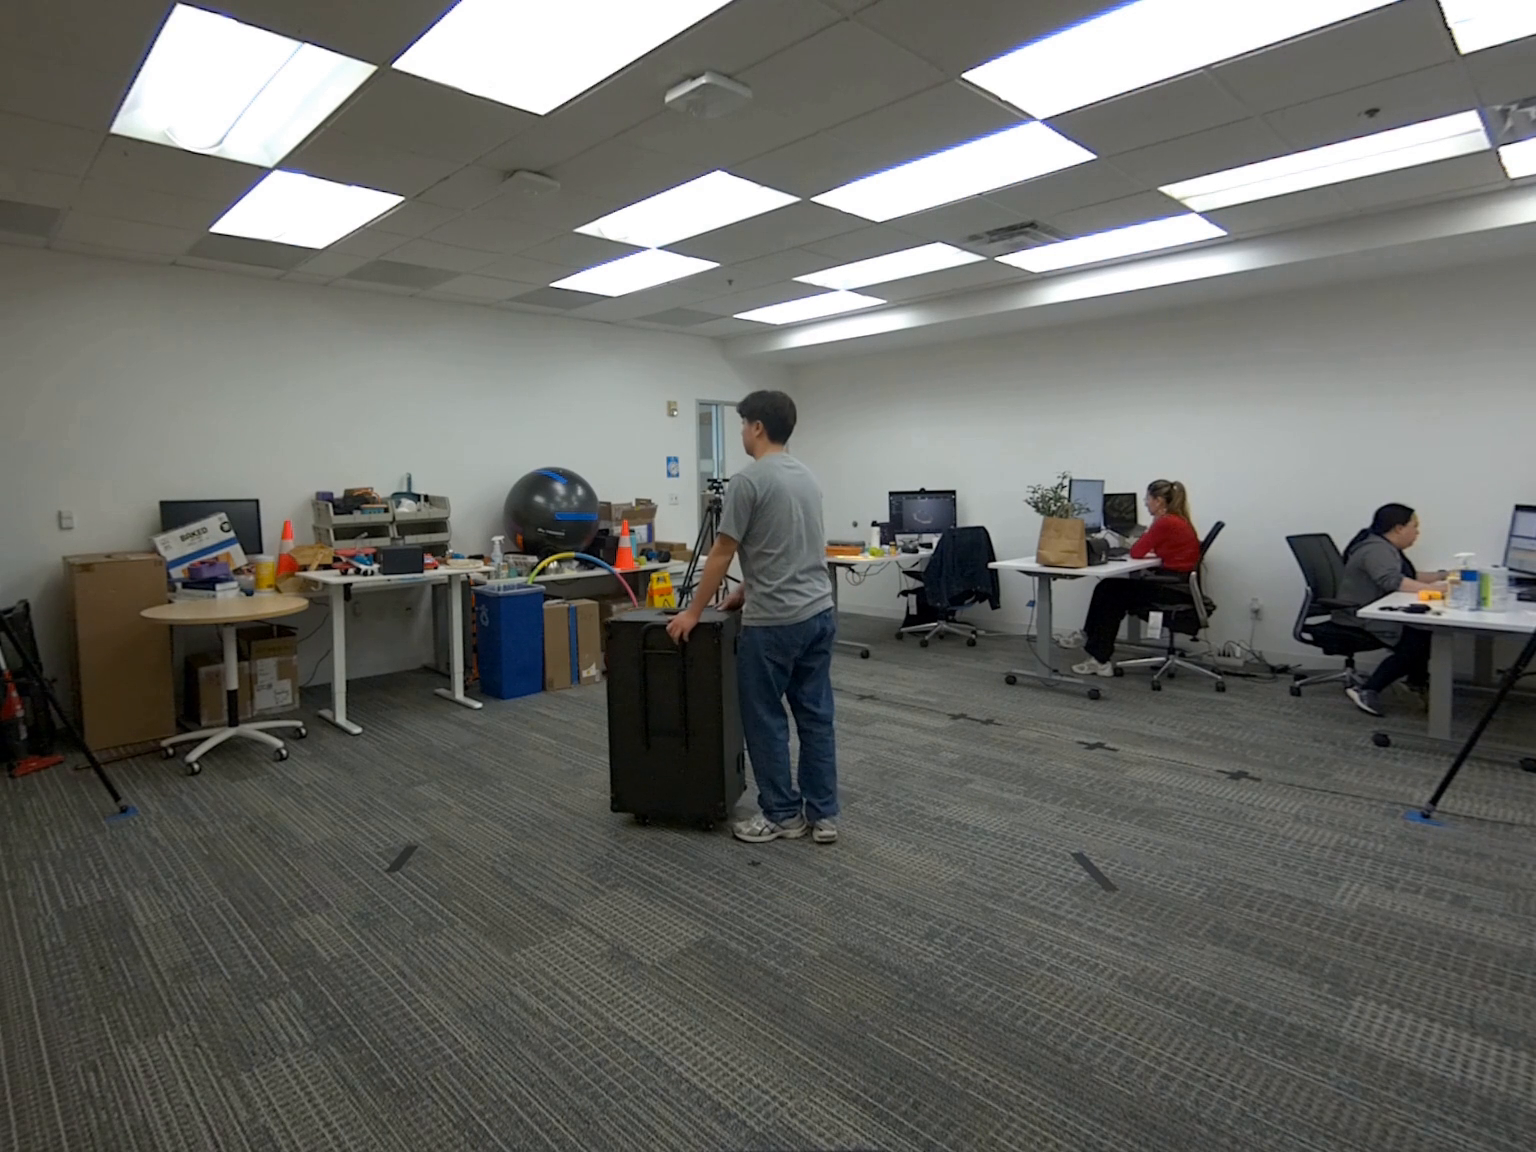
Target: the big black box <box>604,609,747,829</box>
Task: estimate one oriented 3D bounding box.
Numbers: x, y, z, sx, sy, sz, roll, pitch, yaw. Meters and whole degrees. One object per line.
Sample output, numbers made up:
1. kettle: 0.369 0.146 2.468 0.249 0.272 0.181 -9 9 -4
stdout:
1. big black box: -0.368 0.581 3.521 0.528 0.858 0.393 0 5 14
